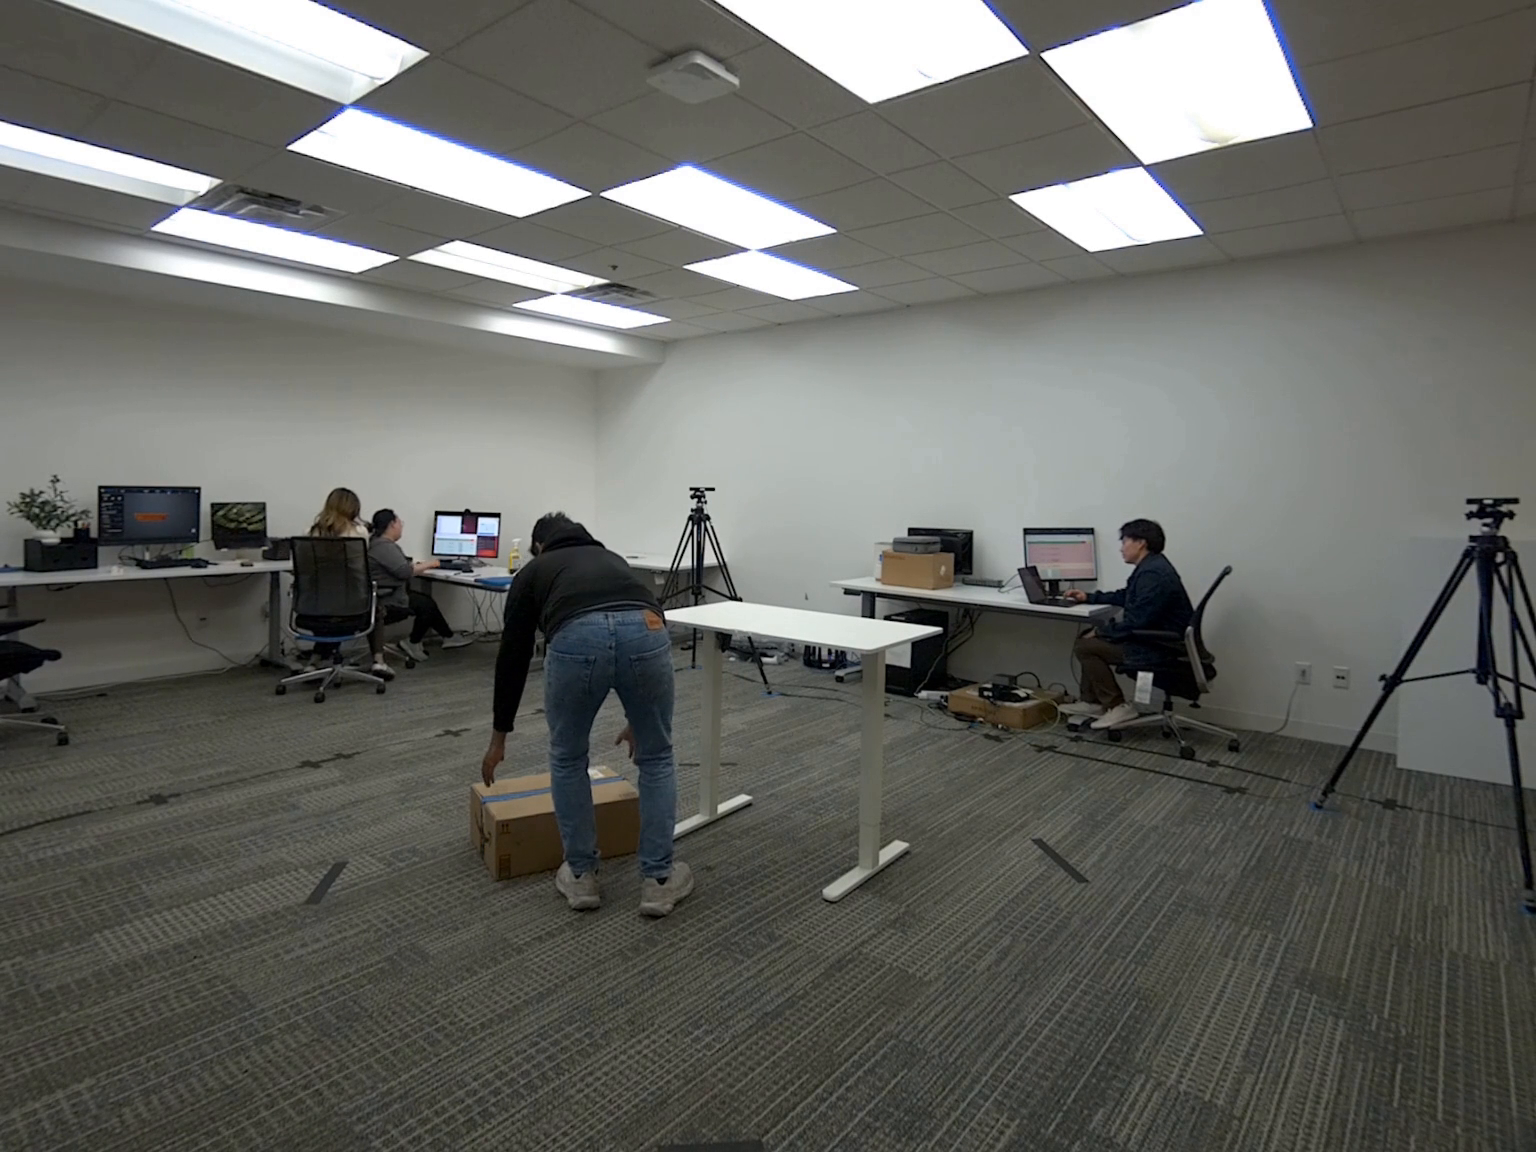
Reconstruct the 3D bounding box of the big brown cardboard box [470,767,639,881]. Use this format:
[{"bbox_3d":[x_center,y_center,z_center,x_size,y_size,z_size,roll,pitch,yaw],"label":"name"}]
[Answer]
[{"bbox_3d":[-0.828,0.927,3.282,0.573,0.232,0.430,-3,6,-31],"label":"big brown cardboard box"}]
